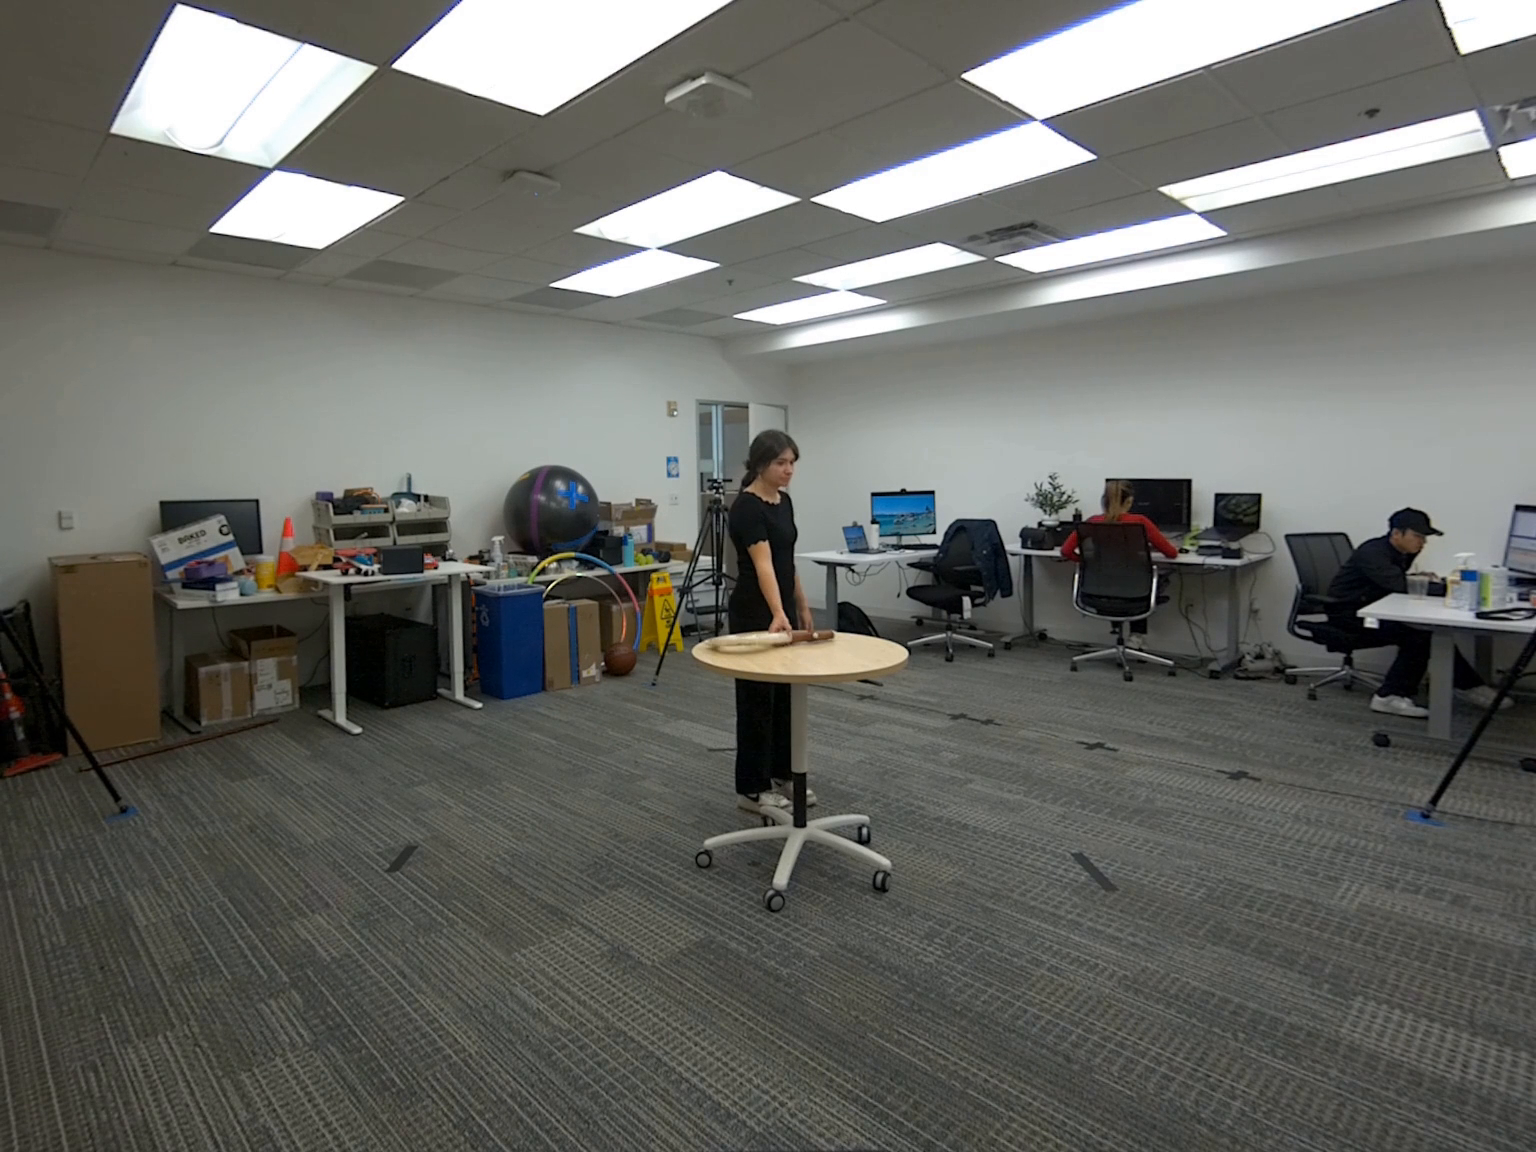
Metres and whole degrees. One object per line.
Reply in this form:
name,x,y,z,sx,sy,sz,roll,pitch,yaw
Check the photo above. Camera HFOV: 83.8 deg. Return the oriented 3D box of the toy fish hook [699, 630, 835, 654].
toy fish hook,0.010,0.226,3.149,0.494,0.048,0.231,-1,5,-29
